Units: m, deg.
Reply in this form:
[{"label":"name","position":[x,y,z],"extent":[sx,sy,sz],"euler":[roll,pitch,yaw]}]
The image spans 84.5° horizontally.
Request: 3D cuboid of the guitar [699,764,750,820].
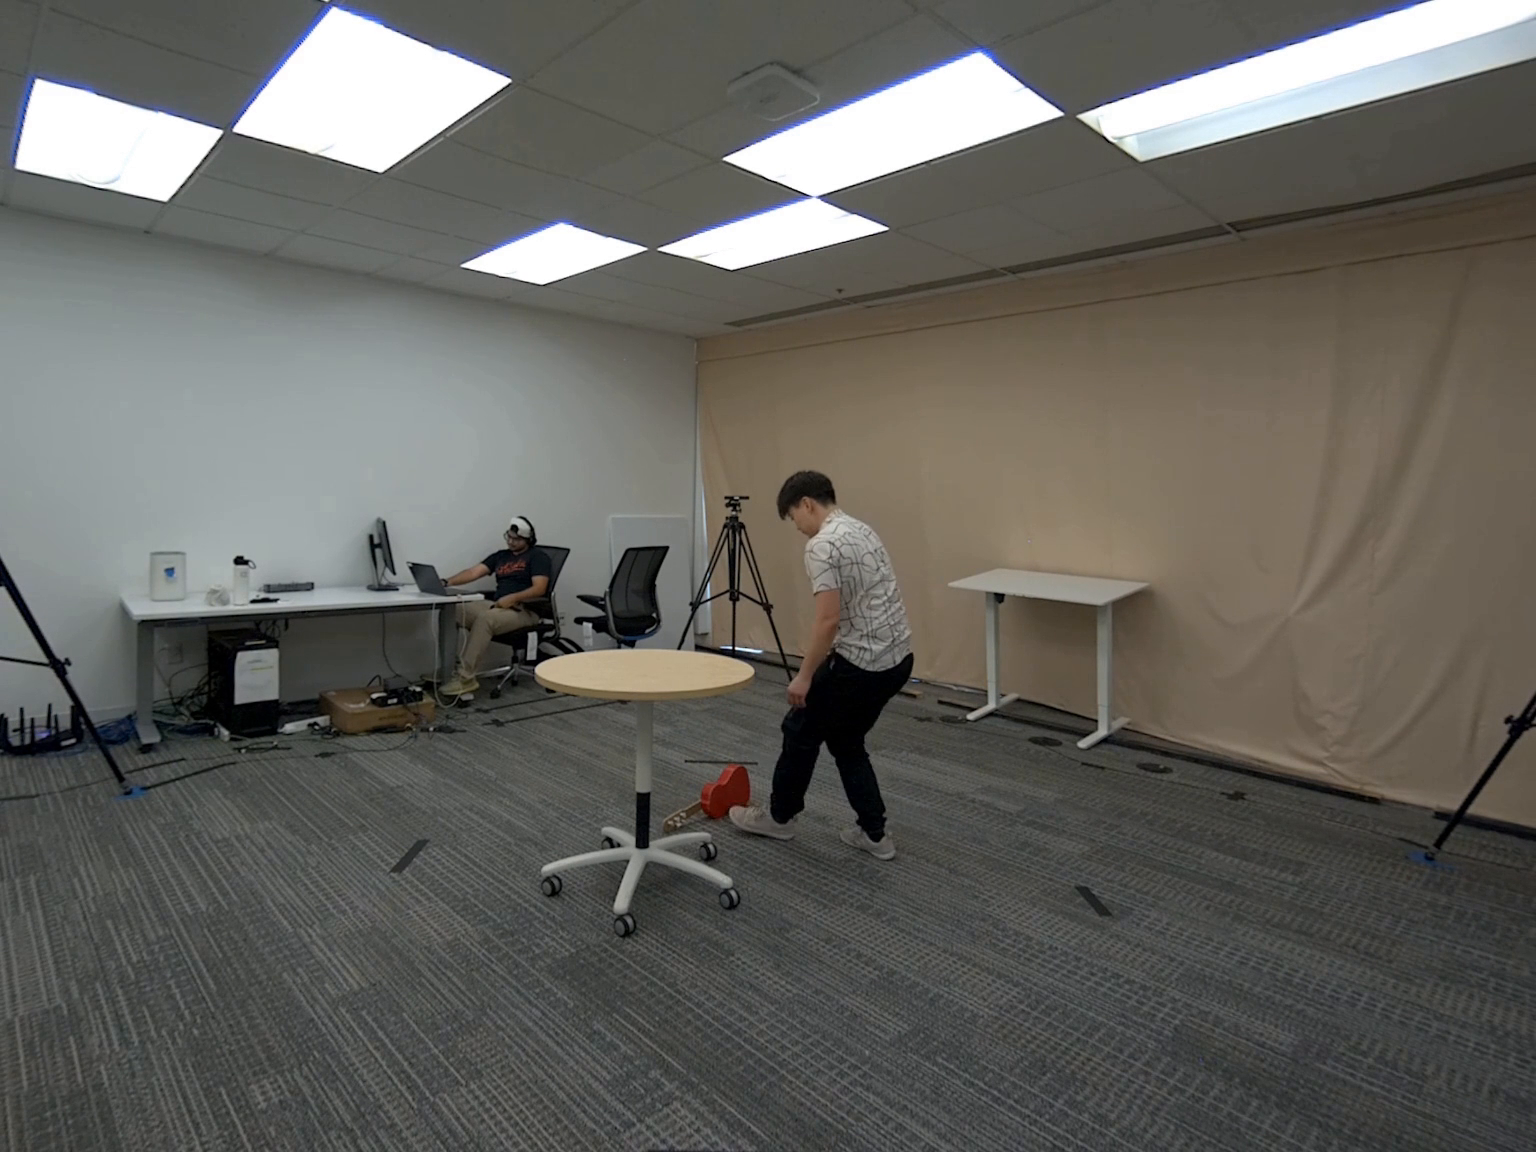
[{"label":"guitar","position":[-0.256,1.006,3.652],"extent":[0.072,0.190,0.493],"euler":[-1,20,40]}]
